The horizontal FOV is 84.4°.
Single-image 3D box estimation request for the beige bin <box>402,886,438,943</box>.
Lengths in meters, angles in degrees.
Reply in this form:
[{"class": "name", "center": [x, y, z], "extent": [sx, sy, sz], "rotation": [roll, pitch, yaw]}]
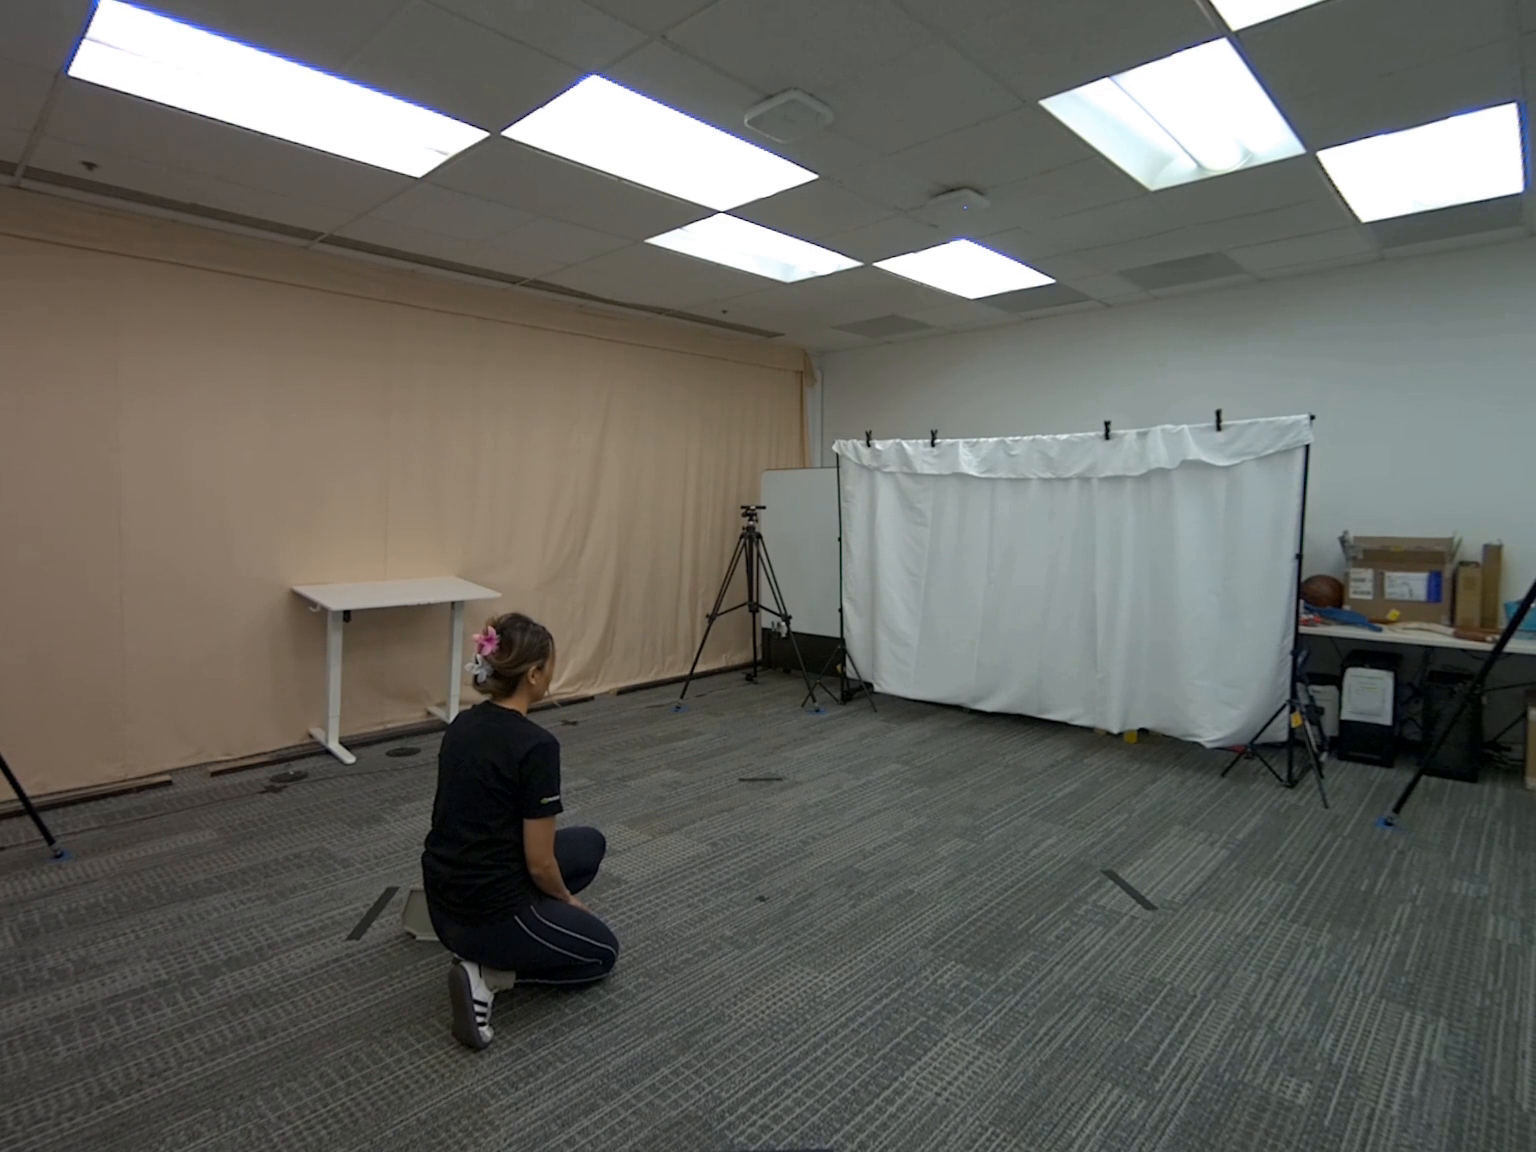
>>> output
[{"class": "beige bin", "center": [-1.006, 1.075, 2.898], "extent": [0.379, 0.188, 0.421], "rotation": [1, 4, 3]}]
